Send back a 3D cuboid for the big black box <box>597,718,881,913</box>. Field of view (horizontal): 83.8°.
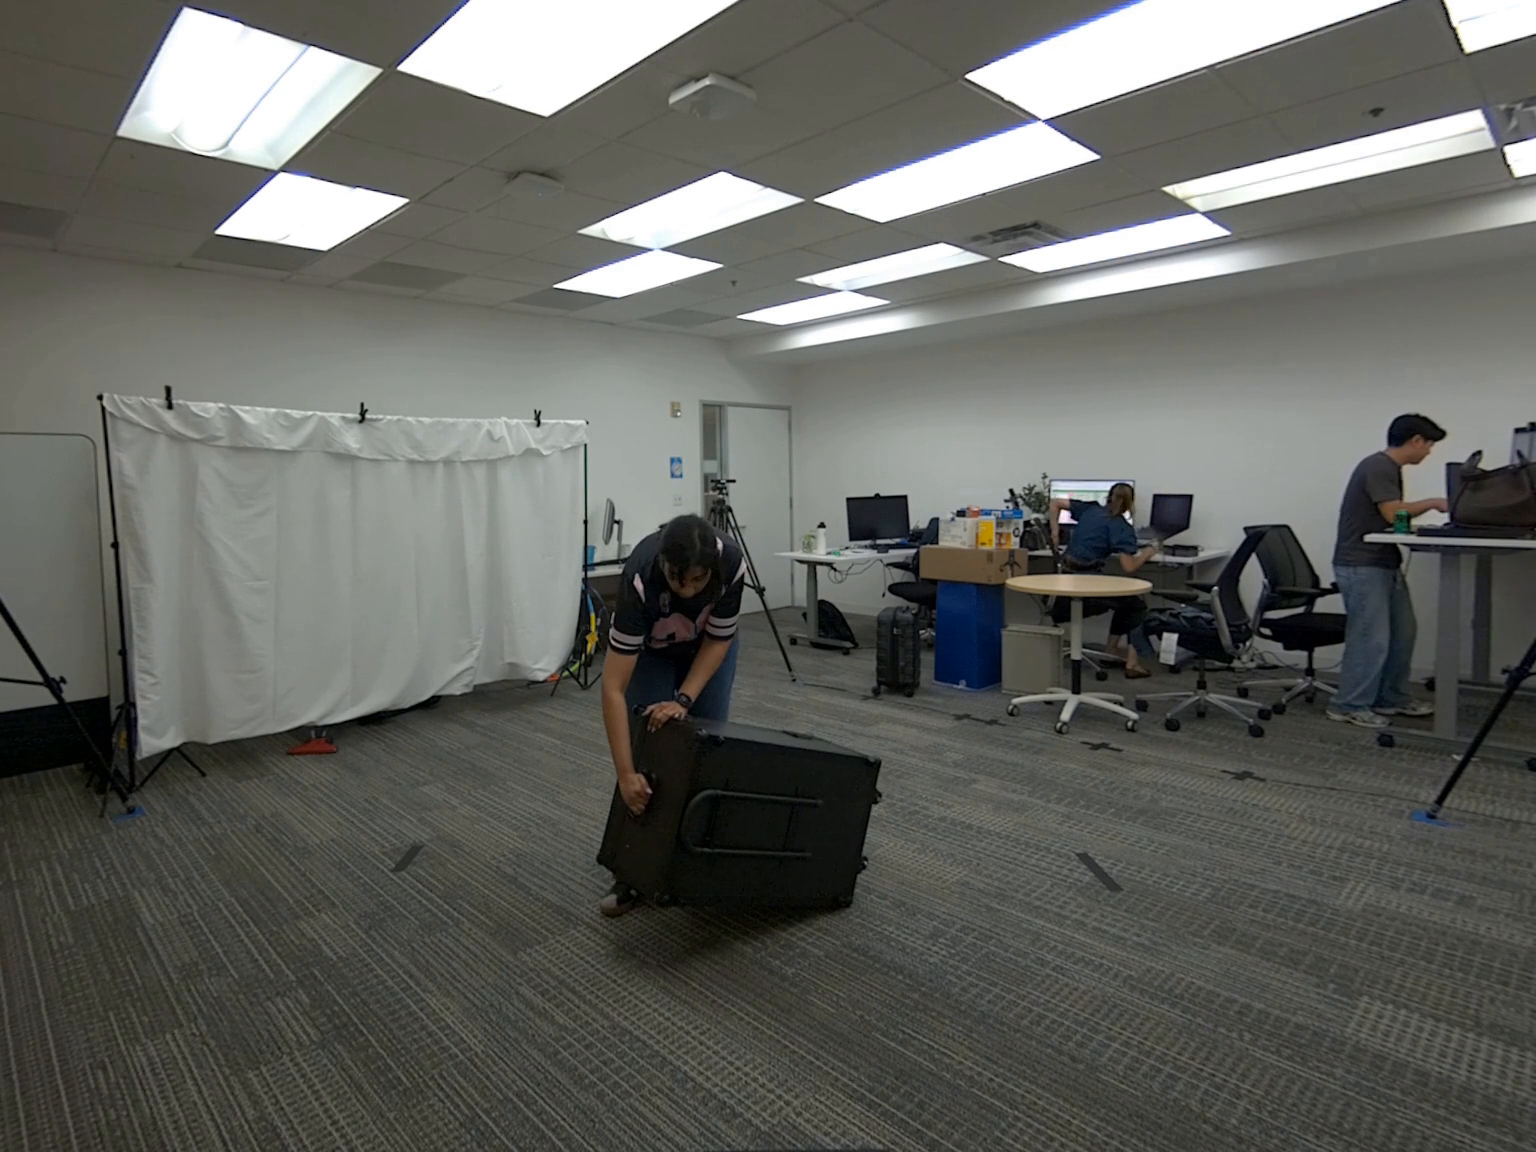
[{"bbox_3d":[-0.040,0.738,2.742,0.839,0.527,0.396,18,-11,-38],"label":"big black box"}]
